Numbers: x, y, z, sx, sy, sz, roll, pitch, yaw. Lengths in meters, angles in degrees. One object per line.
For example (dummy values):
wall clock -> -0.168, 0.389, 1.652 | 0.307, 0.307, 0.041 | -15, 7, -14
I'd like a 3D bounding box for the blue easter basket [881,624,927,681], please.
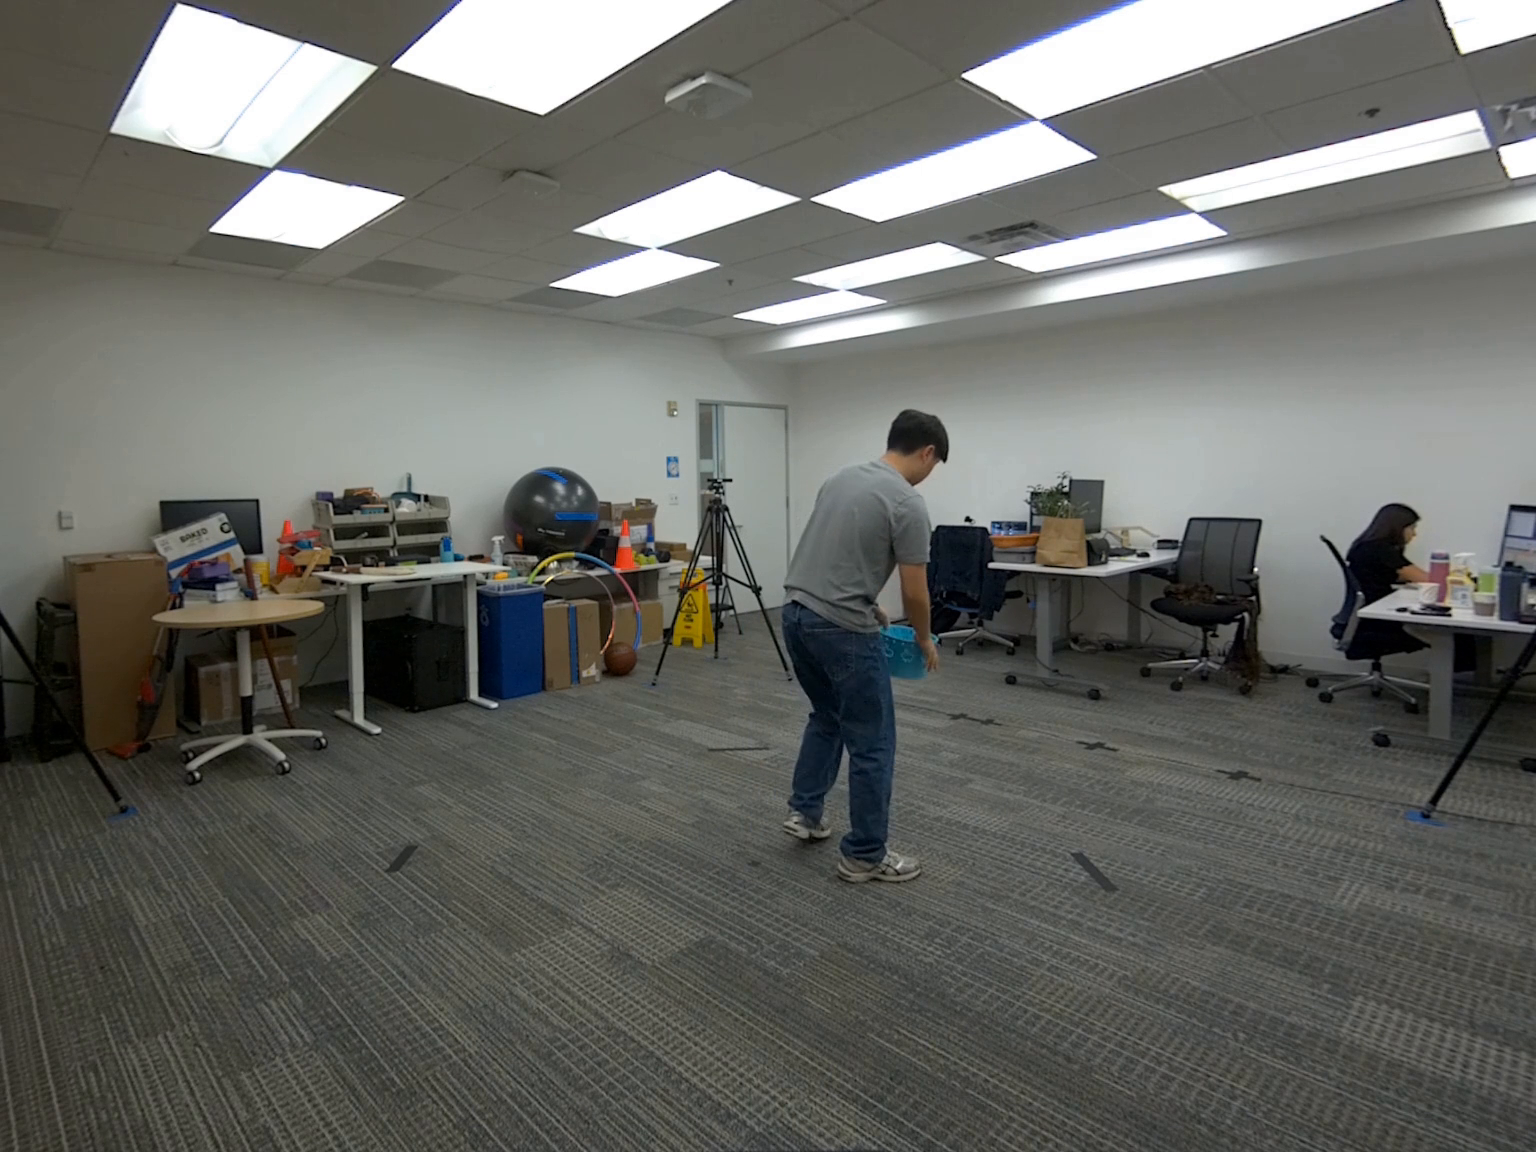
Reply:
blue easter basket -> 0.534, 0.299, 3.259 | 0.243, 0.155, 0.246 | 6, 10, -3
